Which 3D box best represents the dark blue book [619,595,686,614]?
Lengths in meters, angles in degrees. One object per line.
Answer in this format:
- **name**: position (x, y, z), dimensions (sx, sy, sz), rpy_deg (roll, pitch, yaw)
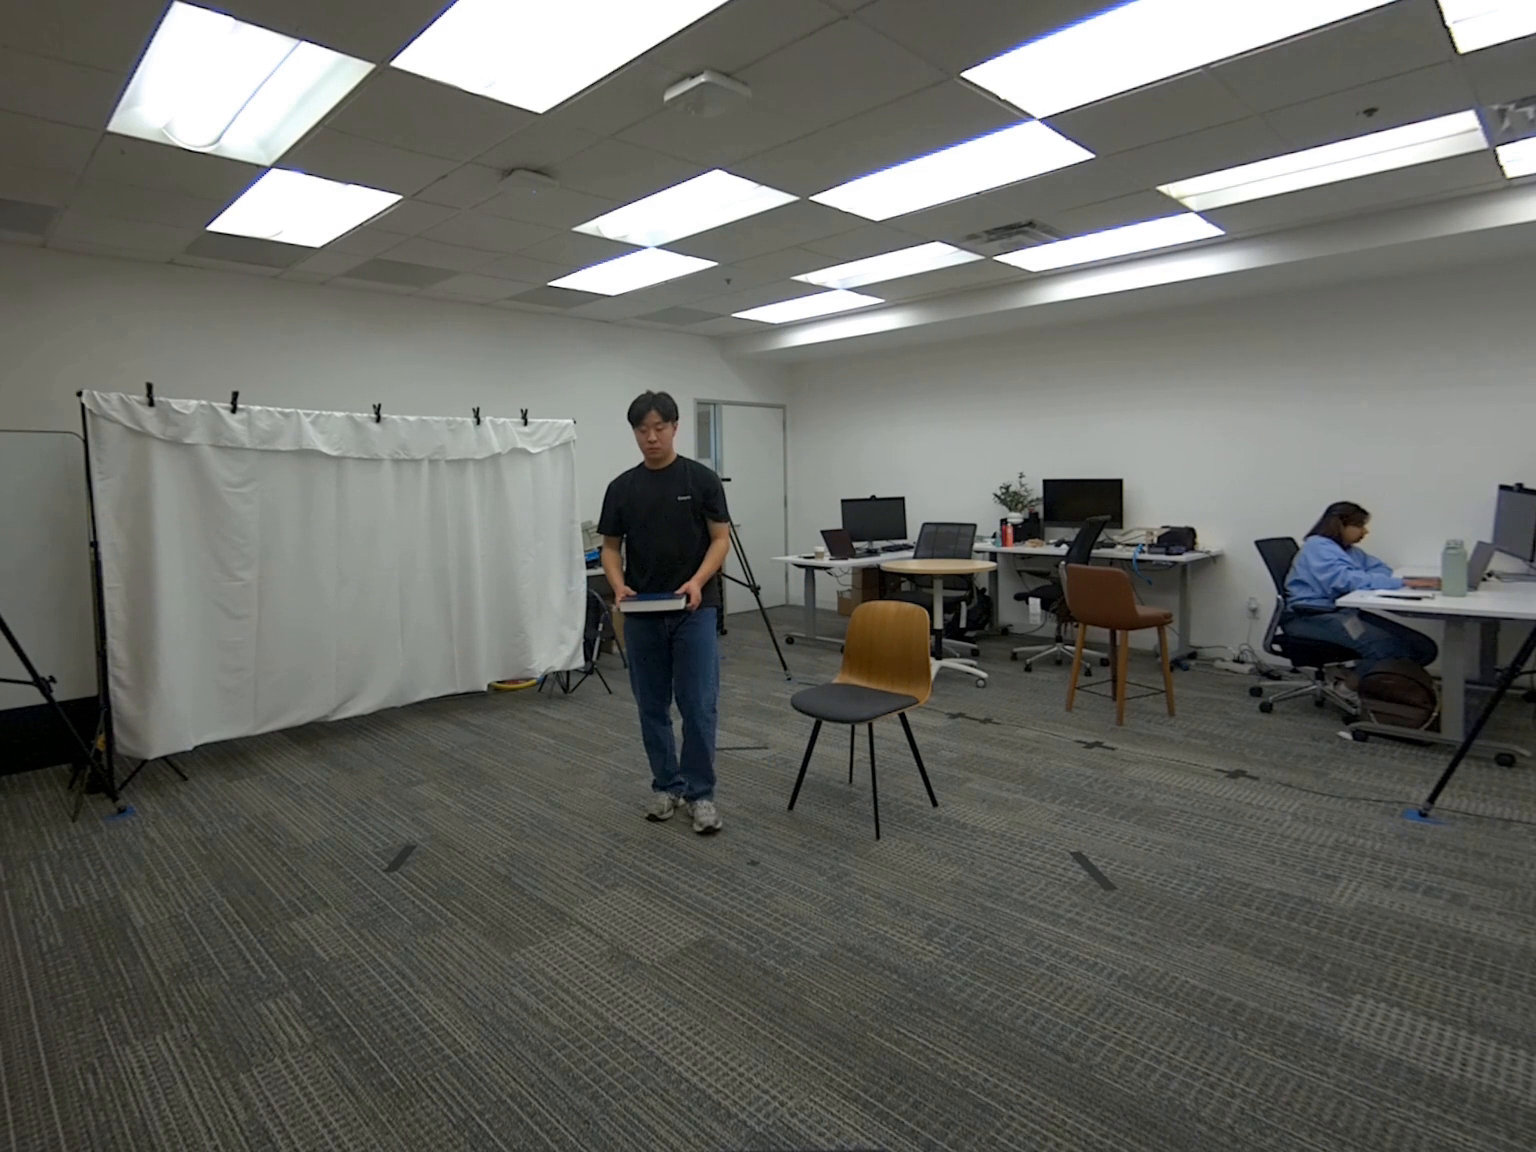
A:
- **dark blue book**: position (-0.468, 0.111, 3.299), dimensions (0.246, 0.045, 0.164), rpy_deg (-3, 7, 2)
